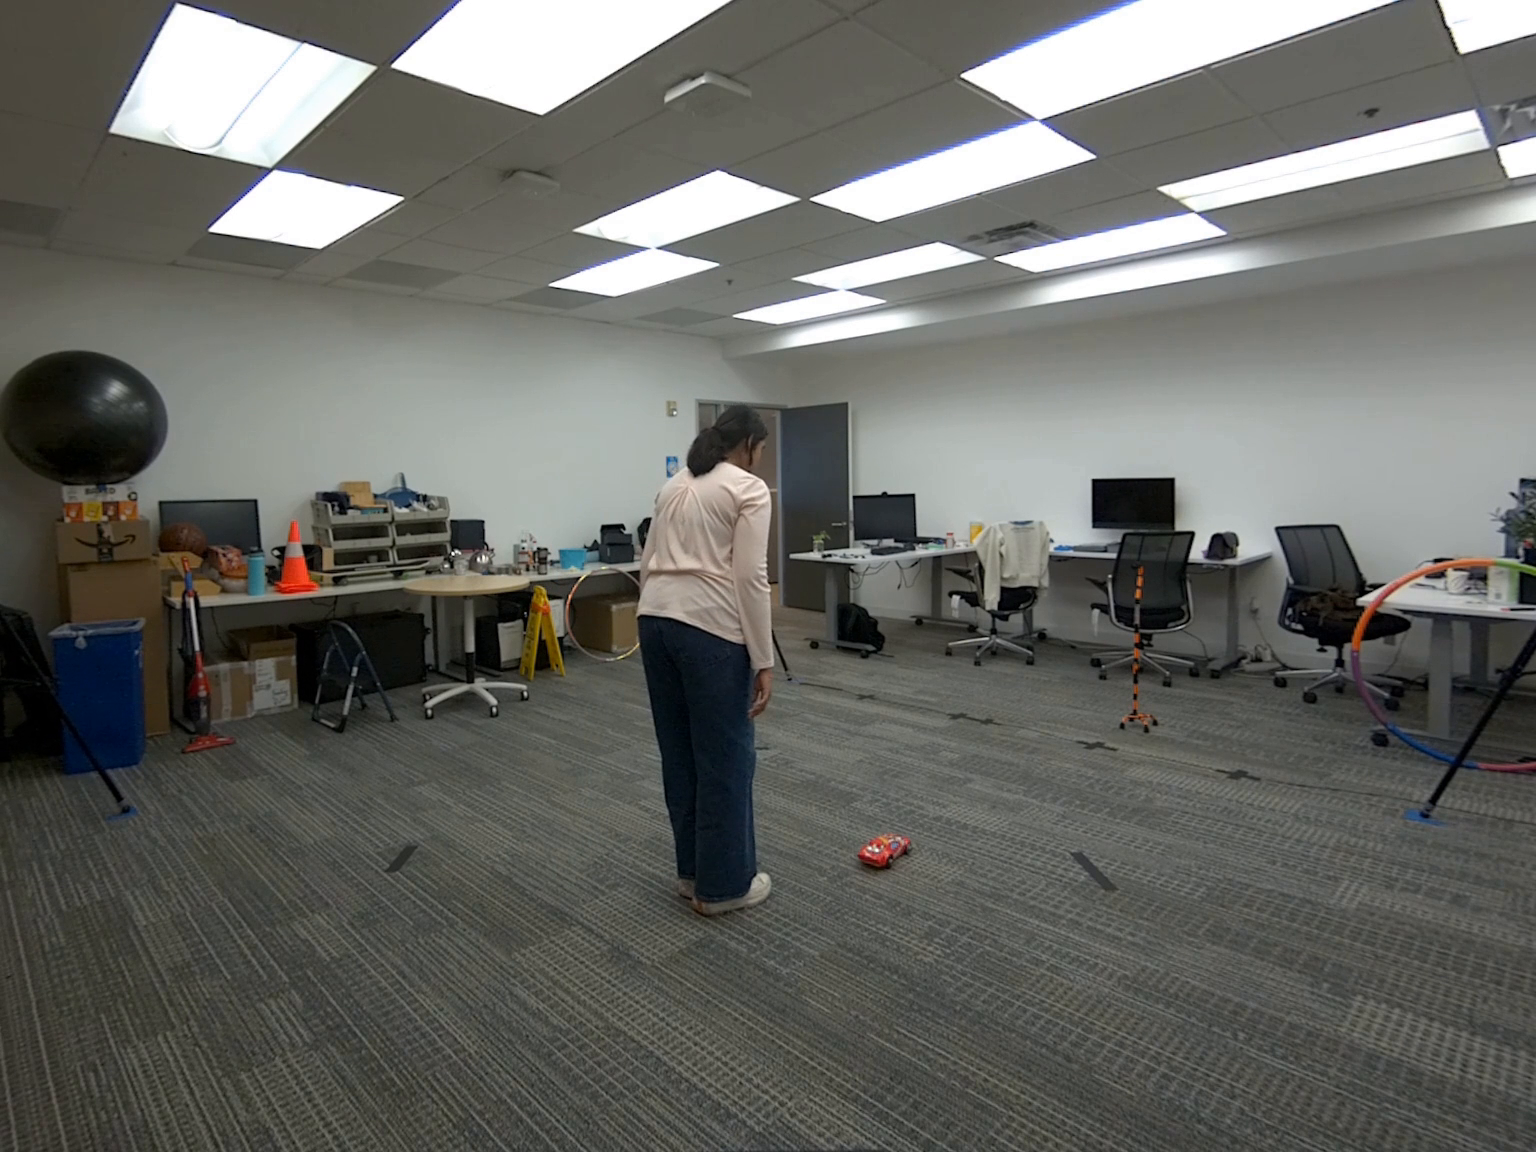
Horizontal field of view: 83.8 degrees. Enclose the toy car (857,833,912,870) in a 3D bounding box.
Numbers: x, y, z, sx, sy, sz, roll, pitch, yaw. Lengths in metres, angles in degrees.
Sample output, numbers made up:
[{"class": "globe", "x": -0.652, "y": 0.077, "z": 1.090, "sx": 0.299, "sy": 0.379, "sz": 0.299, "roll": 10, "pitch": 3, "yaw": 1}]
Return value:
[{"class": "toy car", "x": 0.426, "y": 1.002, "z": 3.116, "sx": 0.134, "sy": 0.083, "sz": 0.246, "roll": 3, "pitch": -4, "yaw": 38}]
